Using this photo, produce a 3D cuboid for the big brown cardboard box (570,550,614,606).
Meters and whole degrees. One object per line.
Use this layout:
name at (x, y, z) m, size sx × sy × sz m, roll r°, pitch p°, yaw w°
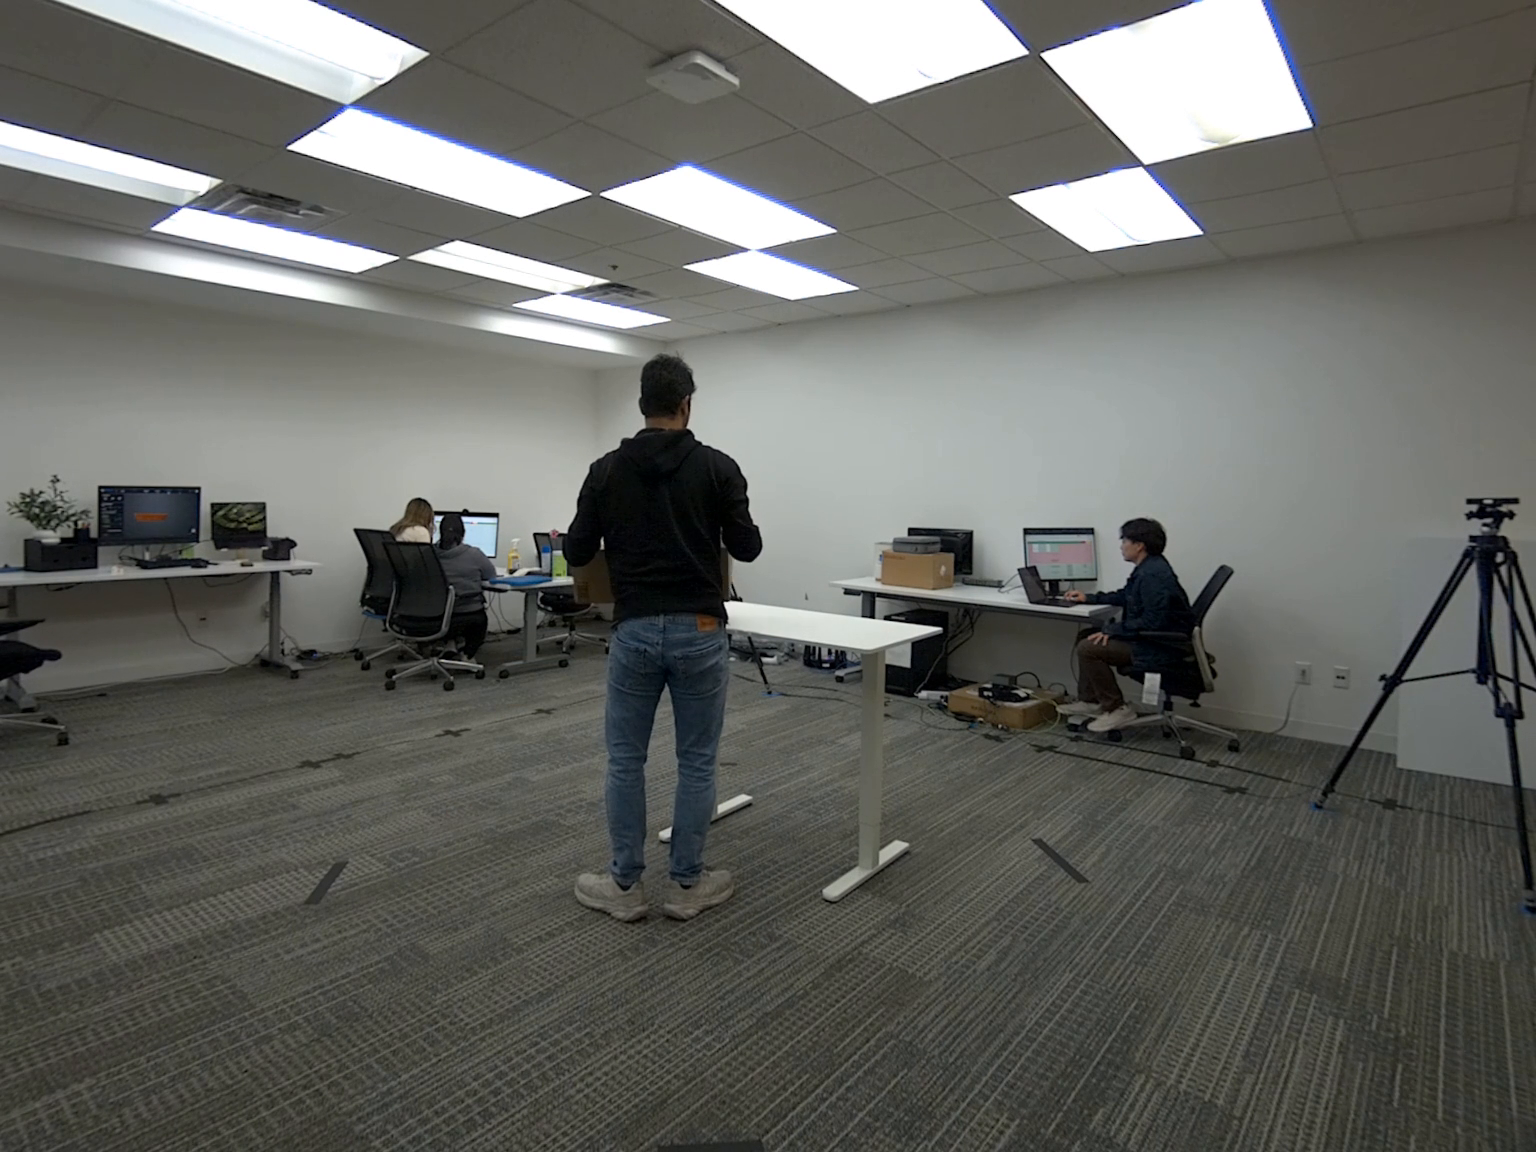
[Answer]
big brown cardboard box at (-0.431, -0.072, 3.218) m, size 0.589 × 0.229 × 0.425 m, roll 0°, pitch 21°, yaw 0°
